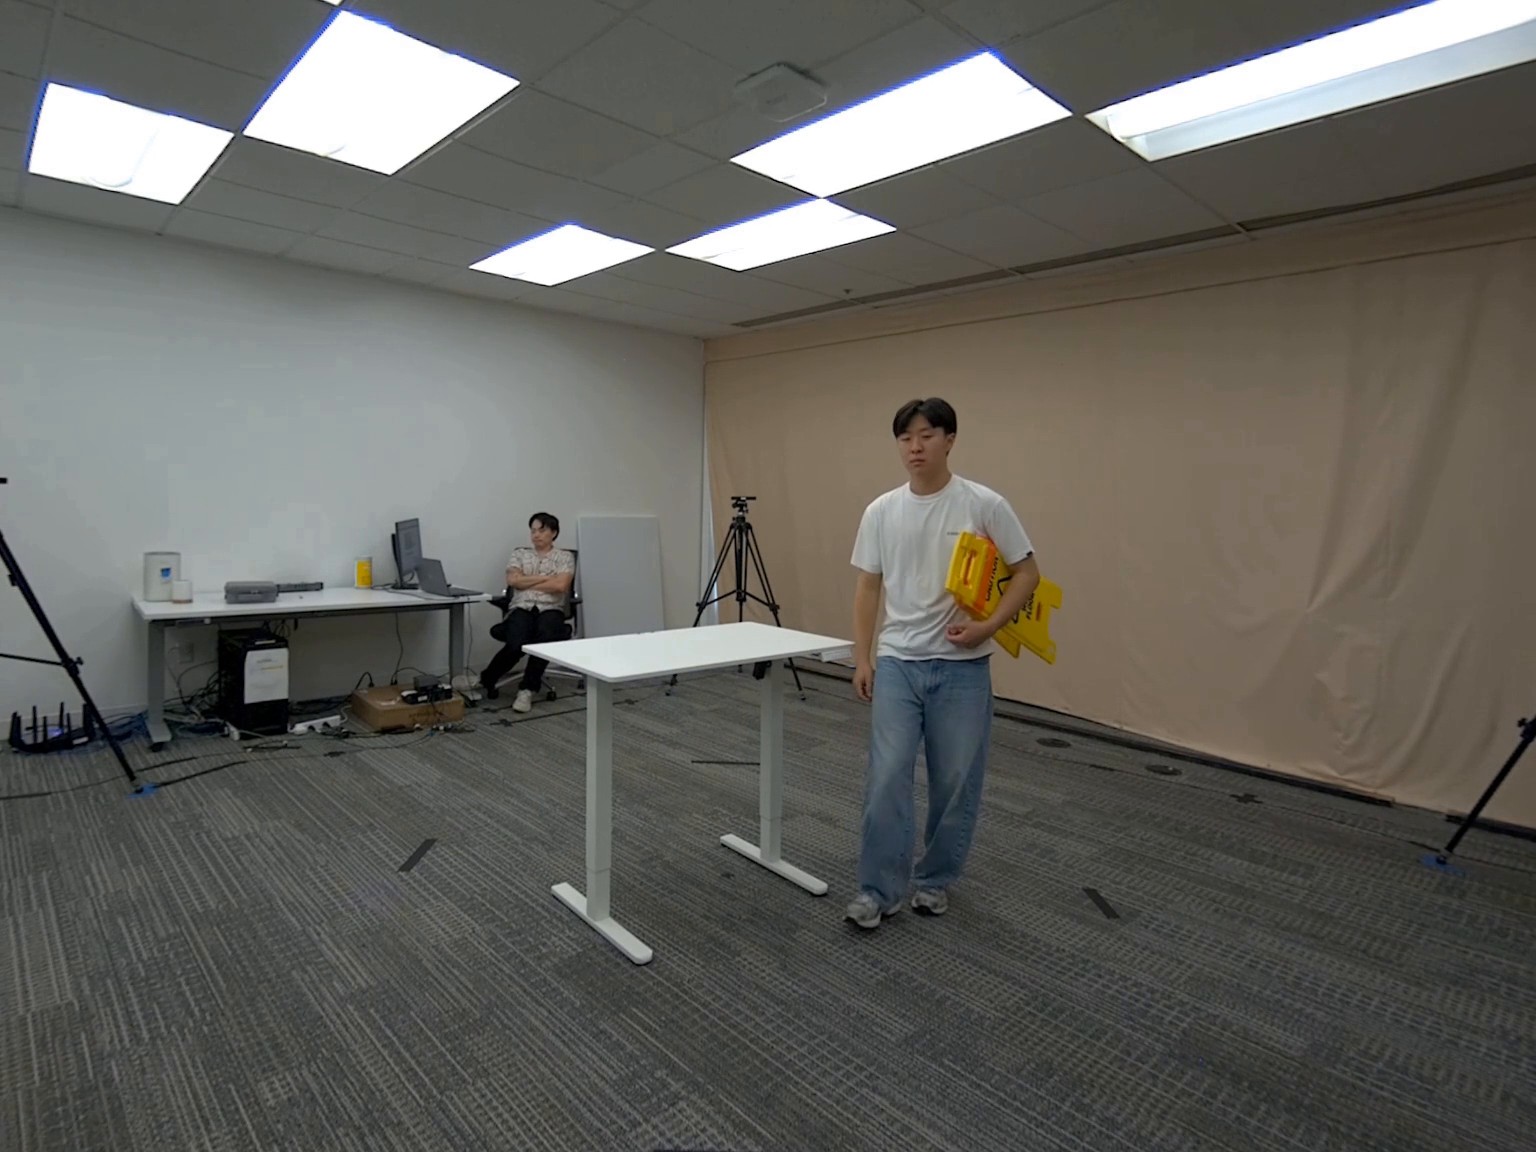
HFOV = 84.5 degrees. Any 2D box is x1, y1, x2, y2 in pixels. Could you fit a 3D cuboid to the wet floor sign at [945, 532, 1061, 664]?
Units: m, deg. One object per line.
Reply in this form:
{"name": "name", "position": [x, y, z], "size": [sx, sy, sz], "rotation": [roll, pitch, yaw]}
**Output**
{"name": "wet floor sign", "position": [0.752, 0.068, 2.791], "size": [0.297, 0.284, 0.626], "rotation": [5, -18, 40]}
